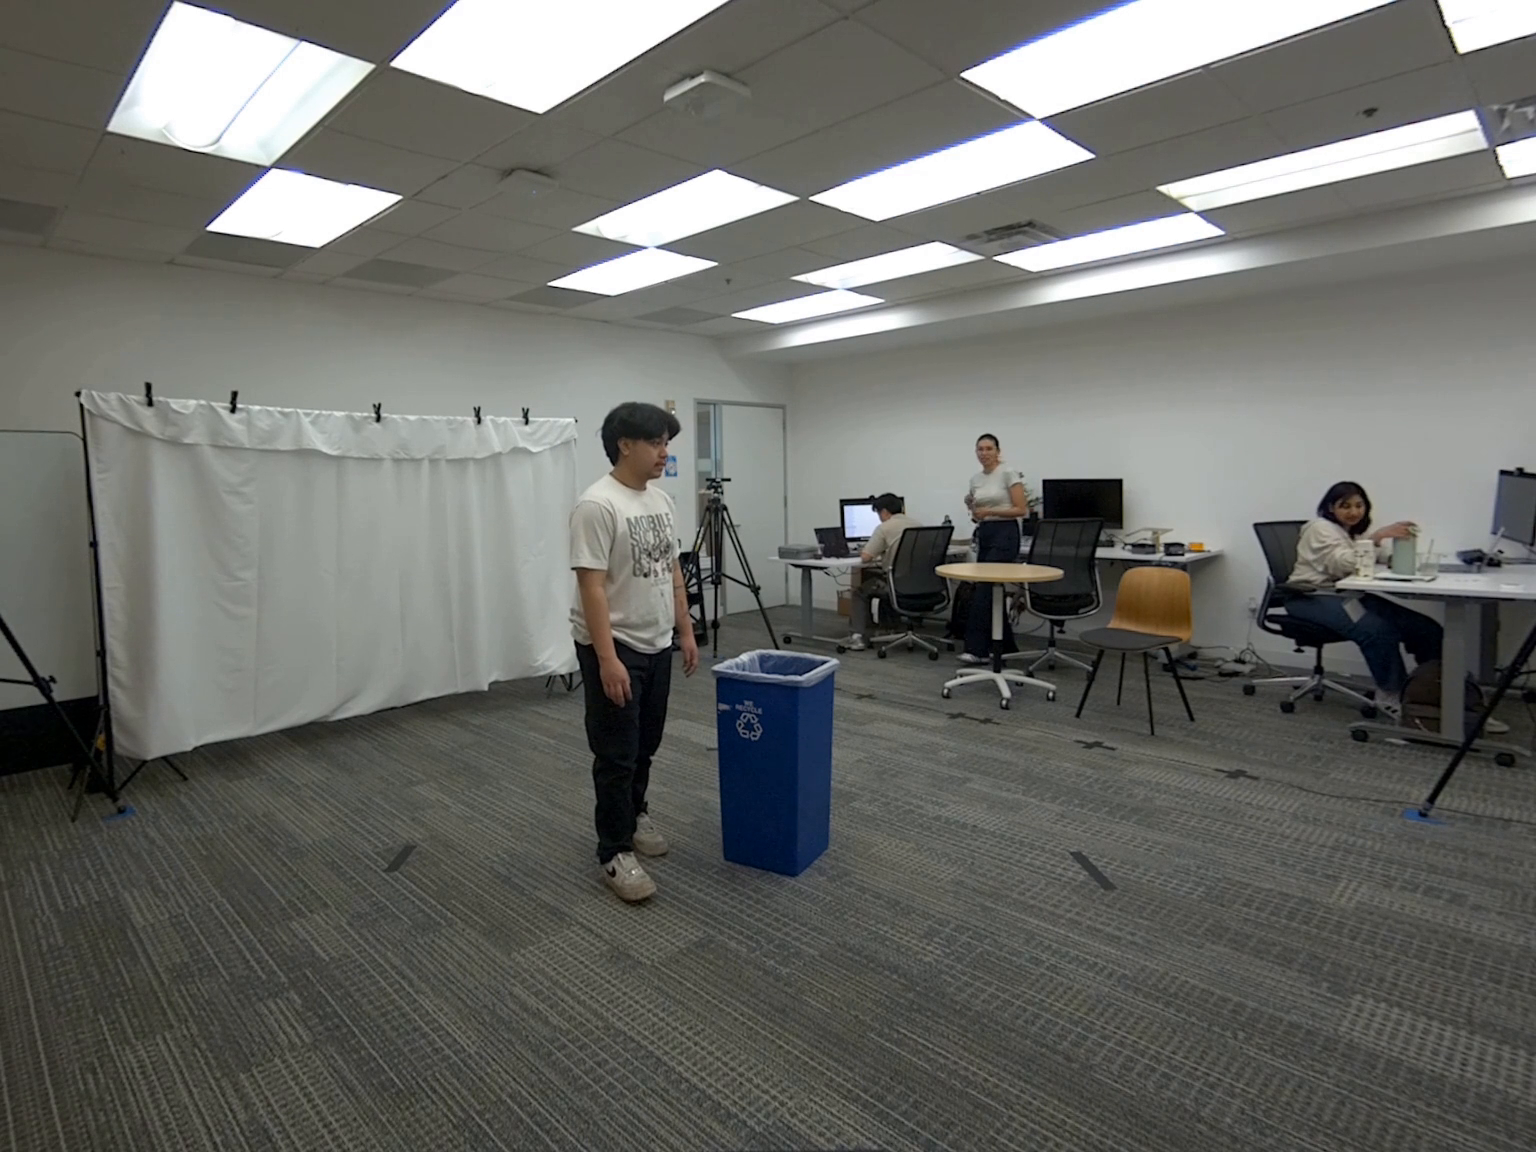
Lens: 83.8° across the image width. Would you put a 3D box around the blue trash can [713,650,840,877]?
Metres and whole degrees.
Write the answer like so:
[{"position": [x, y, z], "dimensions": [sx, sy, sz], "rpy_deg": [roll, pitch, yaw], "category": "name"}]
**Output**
[{"position": [0.039, 0.673, 3.163], "dimensions": [0.384, 0.711, 0.370], "rpy_deg": [2, 5, 29], "category": "blue trash can"}]
